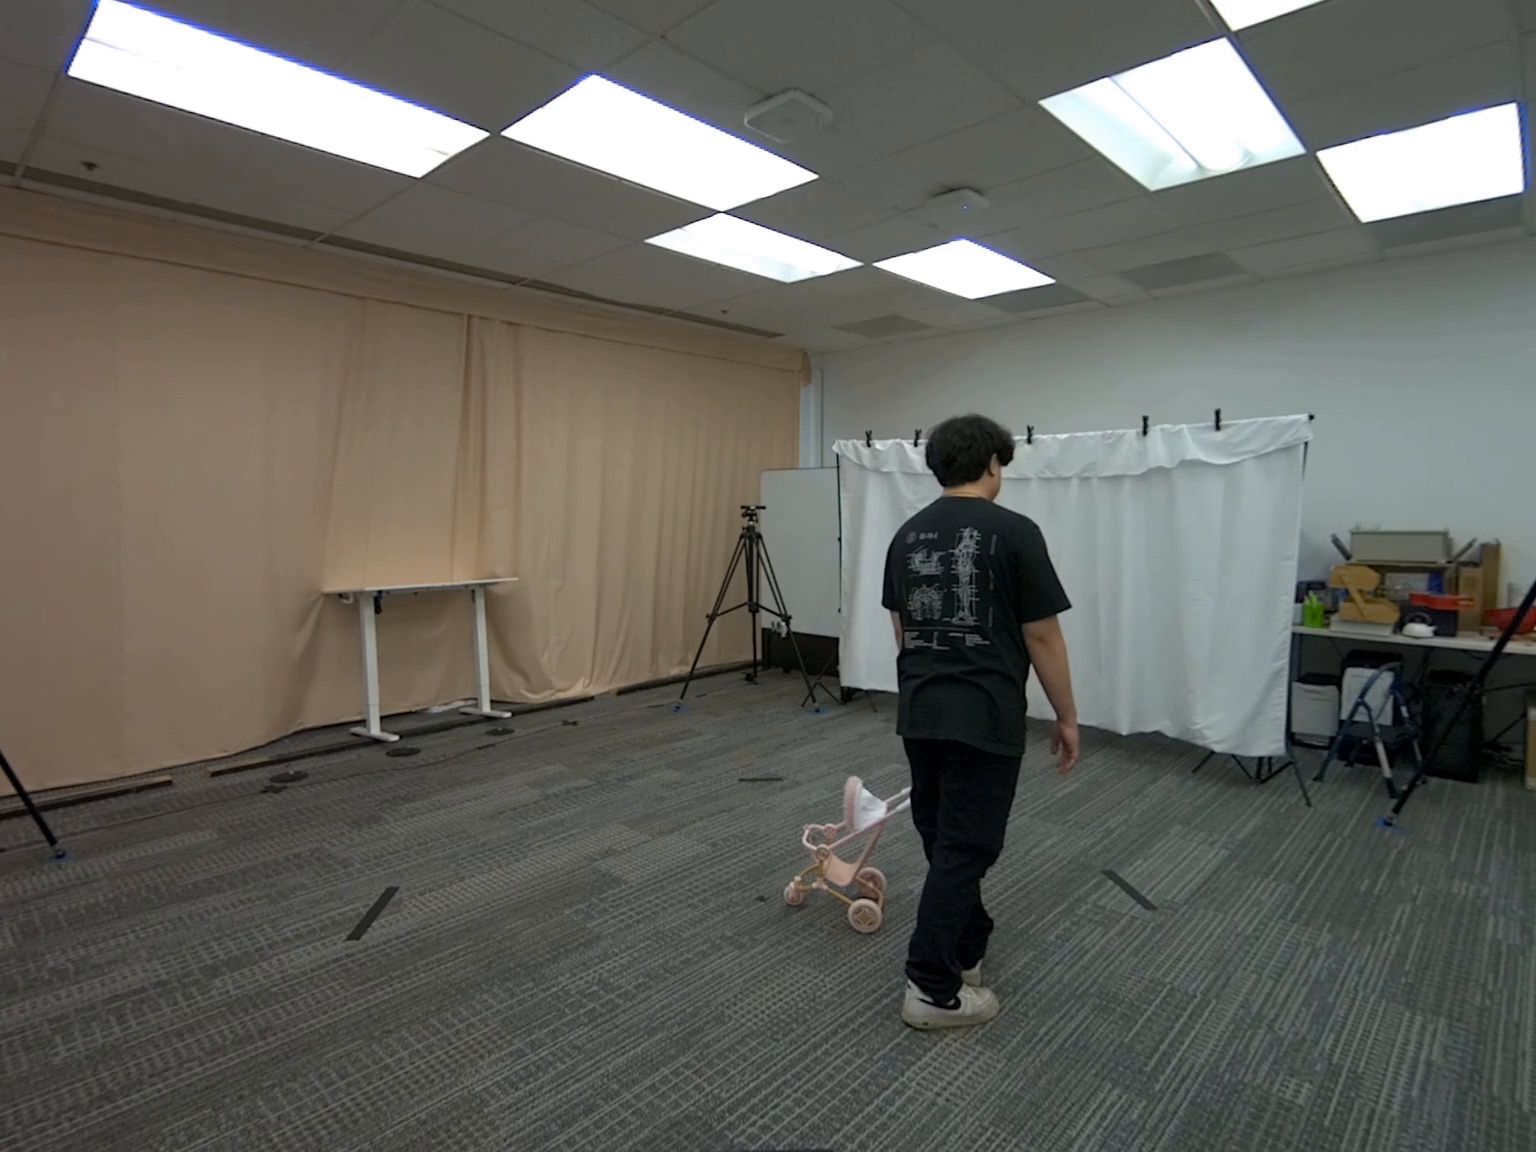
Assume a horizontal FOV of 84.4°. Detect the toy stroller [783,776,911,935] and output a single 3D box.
[{"bbox_3d":[0.280,0.926,2.877,0.349,0.533,0.276,17,8,17],"label":"toy stroller"}]
